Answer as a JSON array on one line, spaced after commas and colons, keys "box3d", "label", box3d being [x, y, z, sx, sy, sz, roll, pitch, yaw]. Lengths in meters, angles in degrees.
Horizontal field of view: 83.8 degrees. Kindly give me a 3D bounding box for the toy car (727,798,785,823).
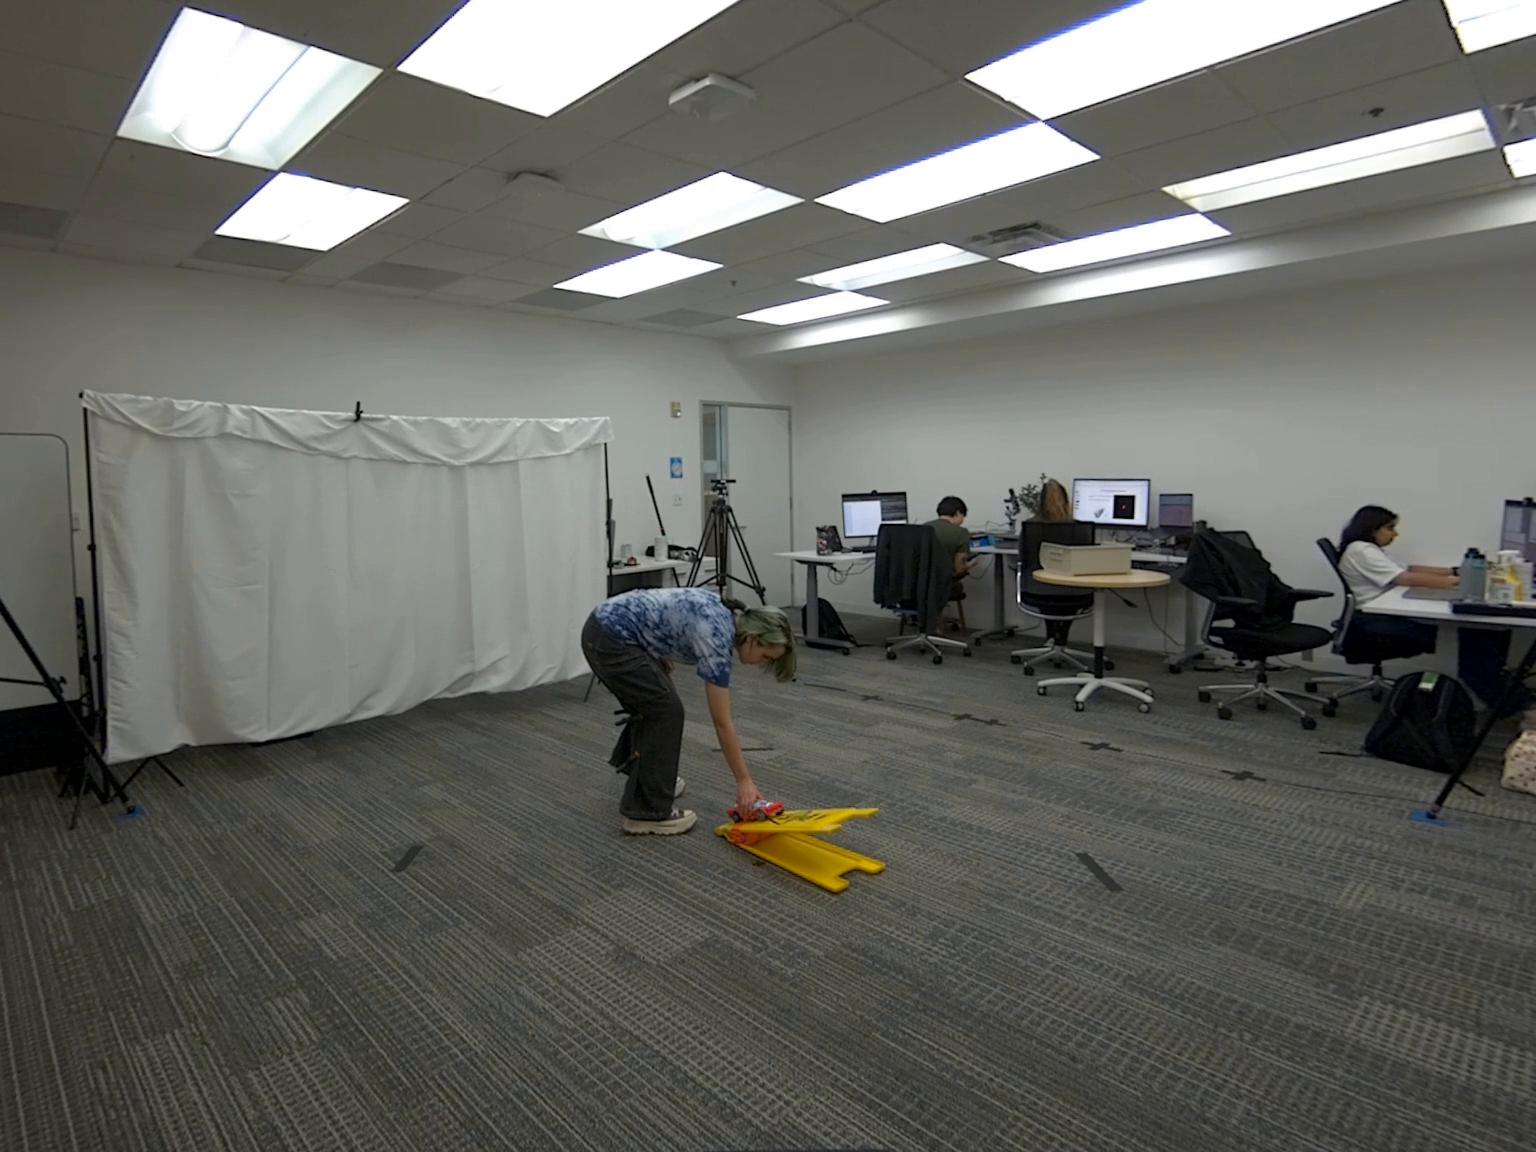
[{"box3d": [-0.051, 0.919, 3.339, 0.127, 0.083, 0.260, -5, -2, -43], "label": "toy car"}]
